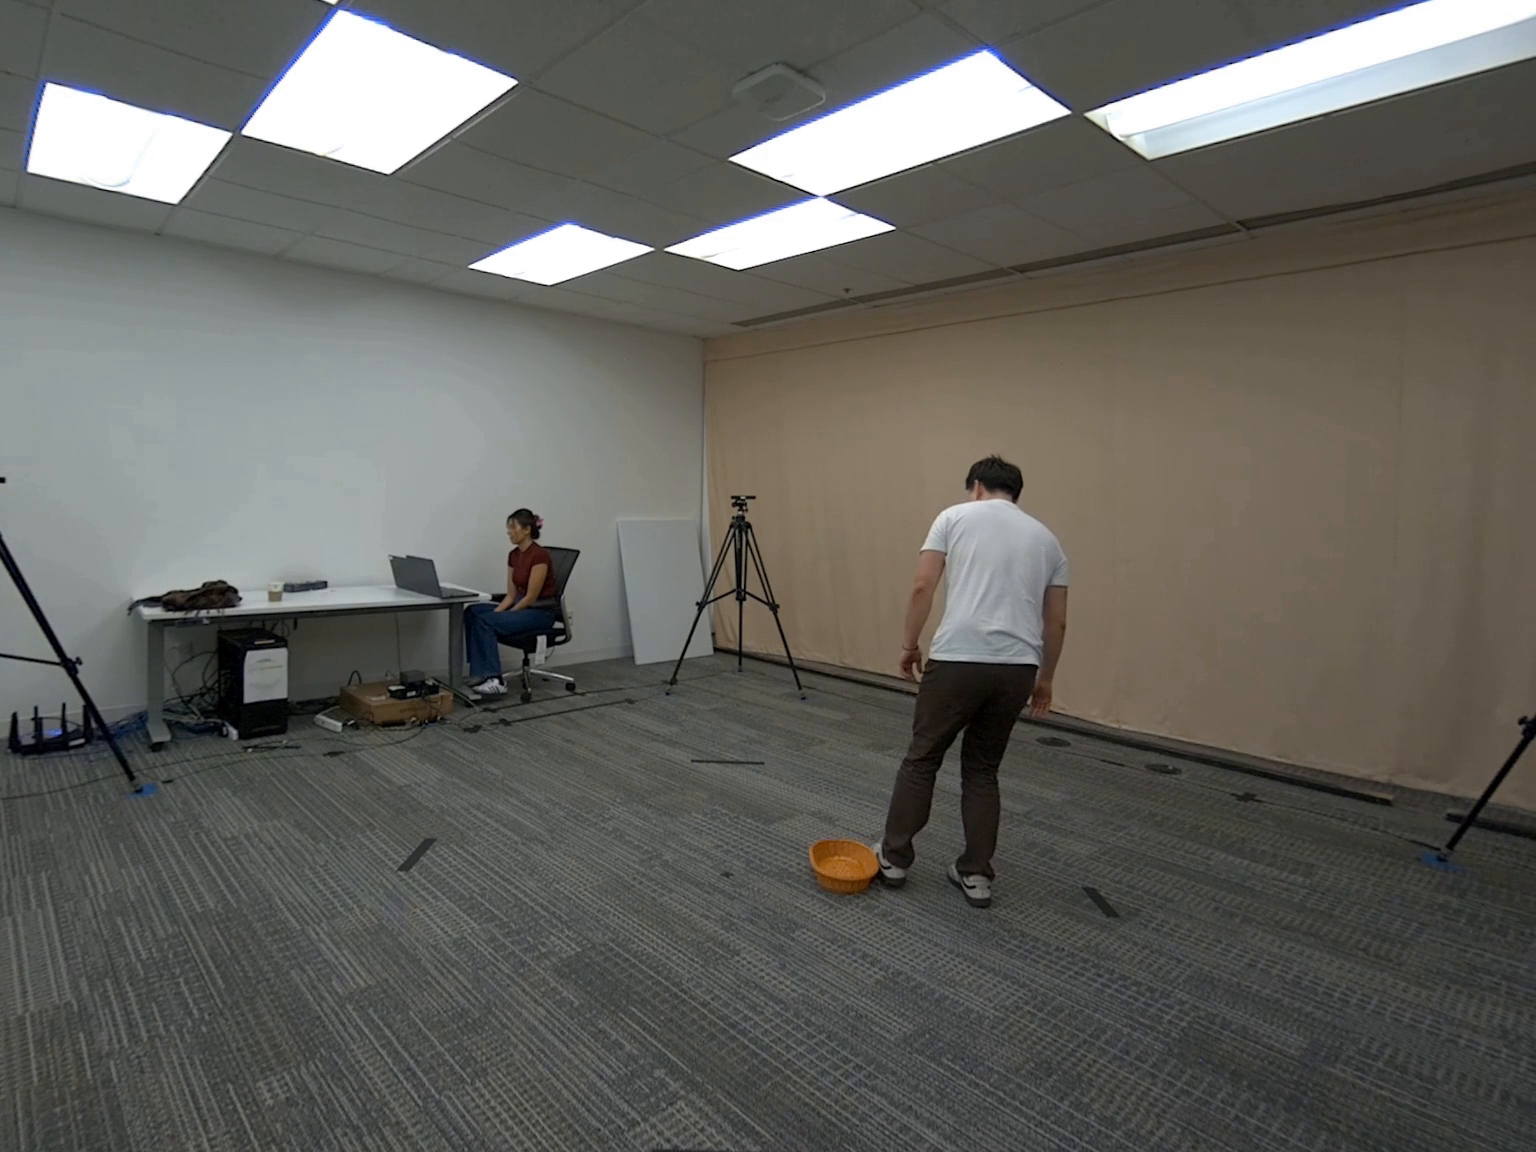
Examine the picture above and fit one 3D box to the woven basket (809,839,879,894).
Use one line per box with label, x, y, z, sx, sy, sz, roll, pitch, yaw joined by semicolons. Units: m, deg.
woven basket;0.270;1.068;3.106;0.252;0.073;0.351;1;5;0
